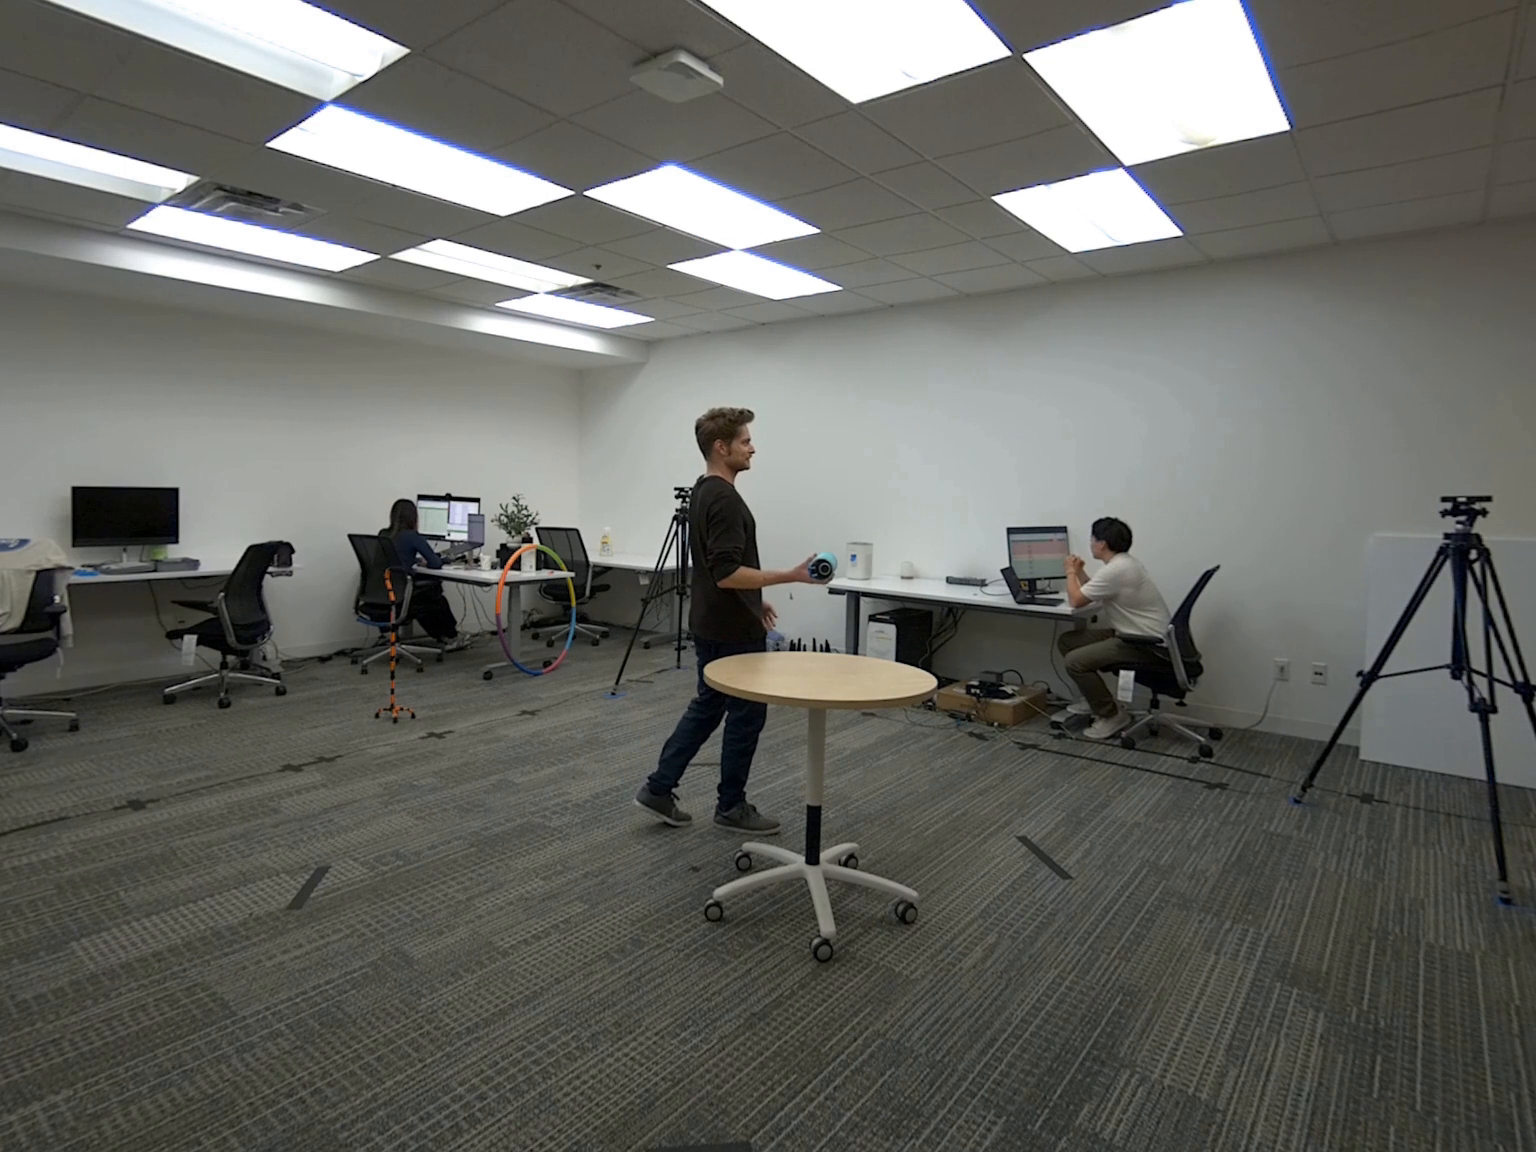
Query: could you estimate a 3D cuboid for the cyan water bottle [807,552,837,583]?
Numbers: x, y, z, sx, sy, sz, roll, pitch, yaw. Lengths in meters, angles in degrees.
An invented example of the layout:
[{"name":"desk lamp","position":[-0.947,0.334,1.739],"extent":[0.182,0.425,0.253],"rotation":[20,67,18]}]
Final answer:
[{"name":"cyan water bottle","position":[0.193,-0.039,3.193],"extent":[0.093,0.092,0.284],"rotation":[1,8,2]}]
